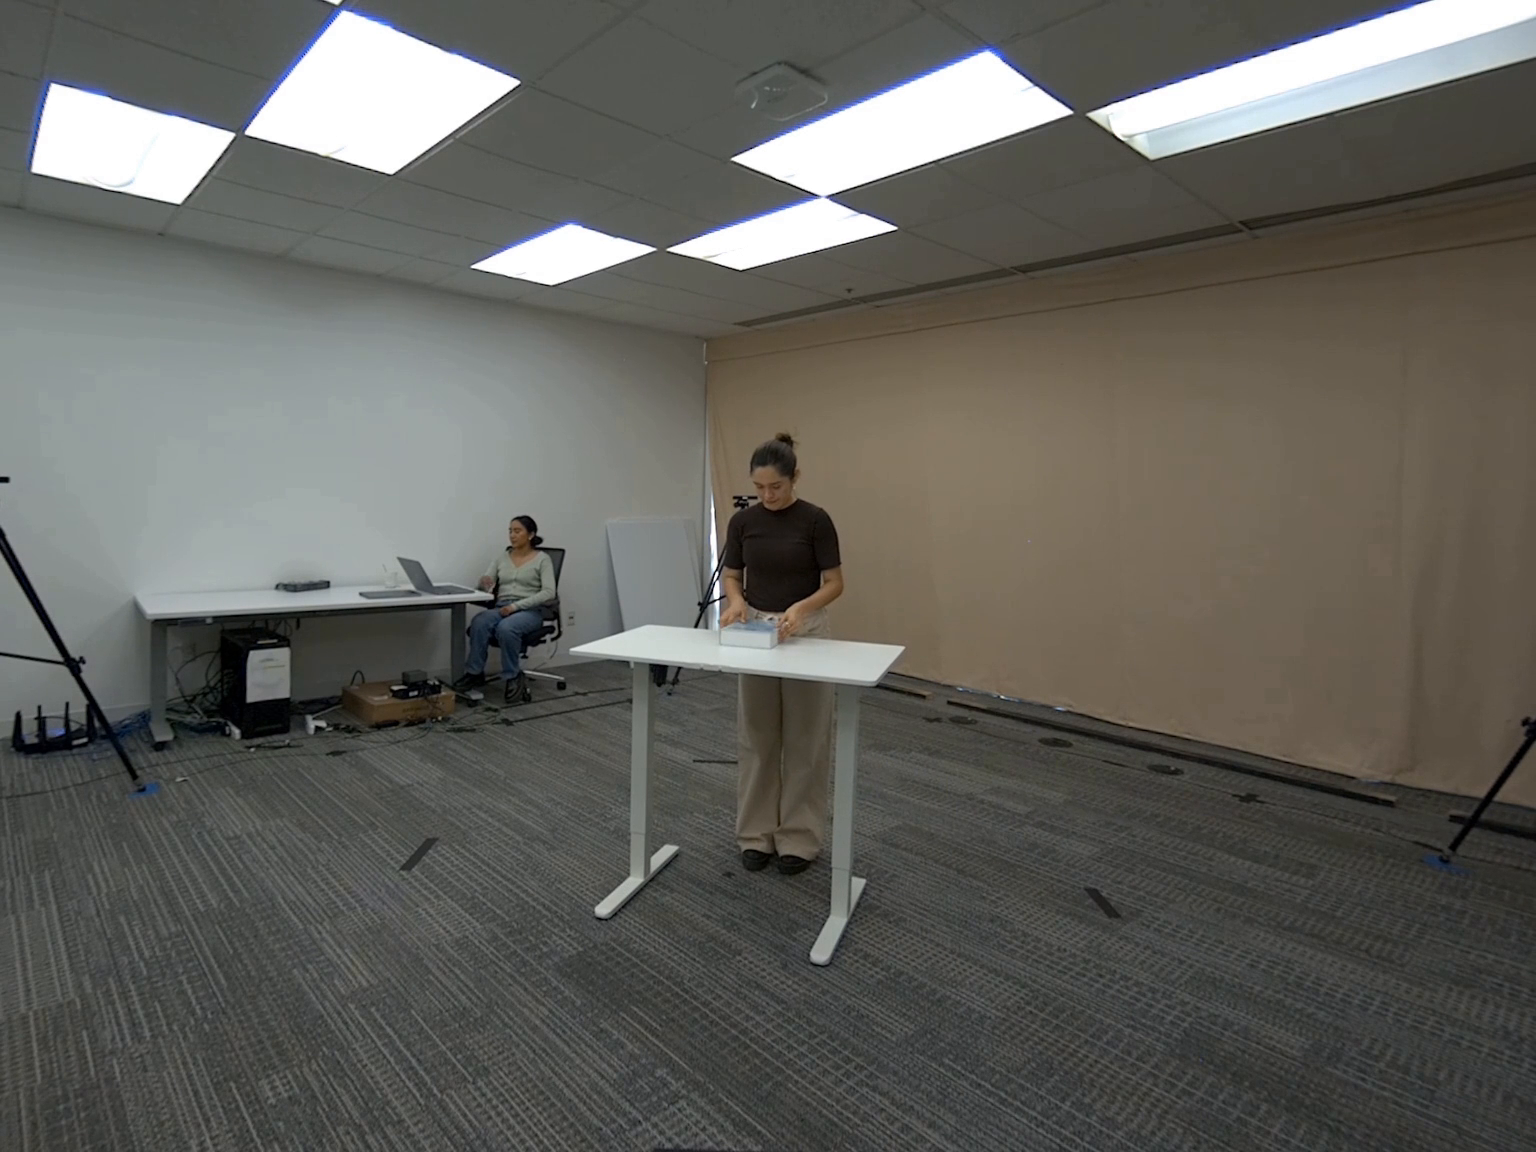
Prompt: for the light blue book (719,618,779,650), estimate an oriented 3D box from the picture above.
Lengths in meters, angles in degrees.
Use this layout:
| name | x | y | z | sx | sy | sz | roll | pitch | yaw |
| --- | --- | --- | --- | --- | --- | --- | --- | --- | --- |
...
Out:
| name | x | y | z | sx | sy | sz | roll | pitch | yaw |
| --- | --- | --- | --- | --- | --- | --- | --- | --- | --- |
| light blue book | -0.055 | 0.205 | 2.988 | 0.194 | 0.059 | 0.258 | 3 | 6 | 17 |
